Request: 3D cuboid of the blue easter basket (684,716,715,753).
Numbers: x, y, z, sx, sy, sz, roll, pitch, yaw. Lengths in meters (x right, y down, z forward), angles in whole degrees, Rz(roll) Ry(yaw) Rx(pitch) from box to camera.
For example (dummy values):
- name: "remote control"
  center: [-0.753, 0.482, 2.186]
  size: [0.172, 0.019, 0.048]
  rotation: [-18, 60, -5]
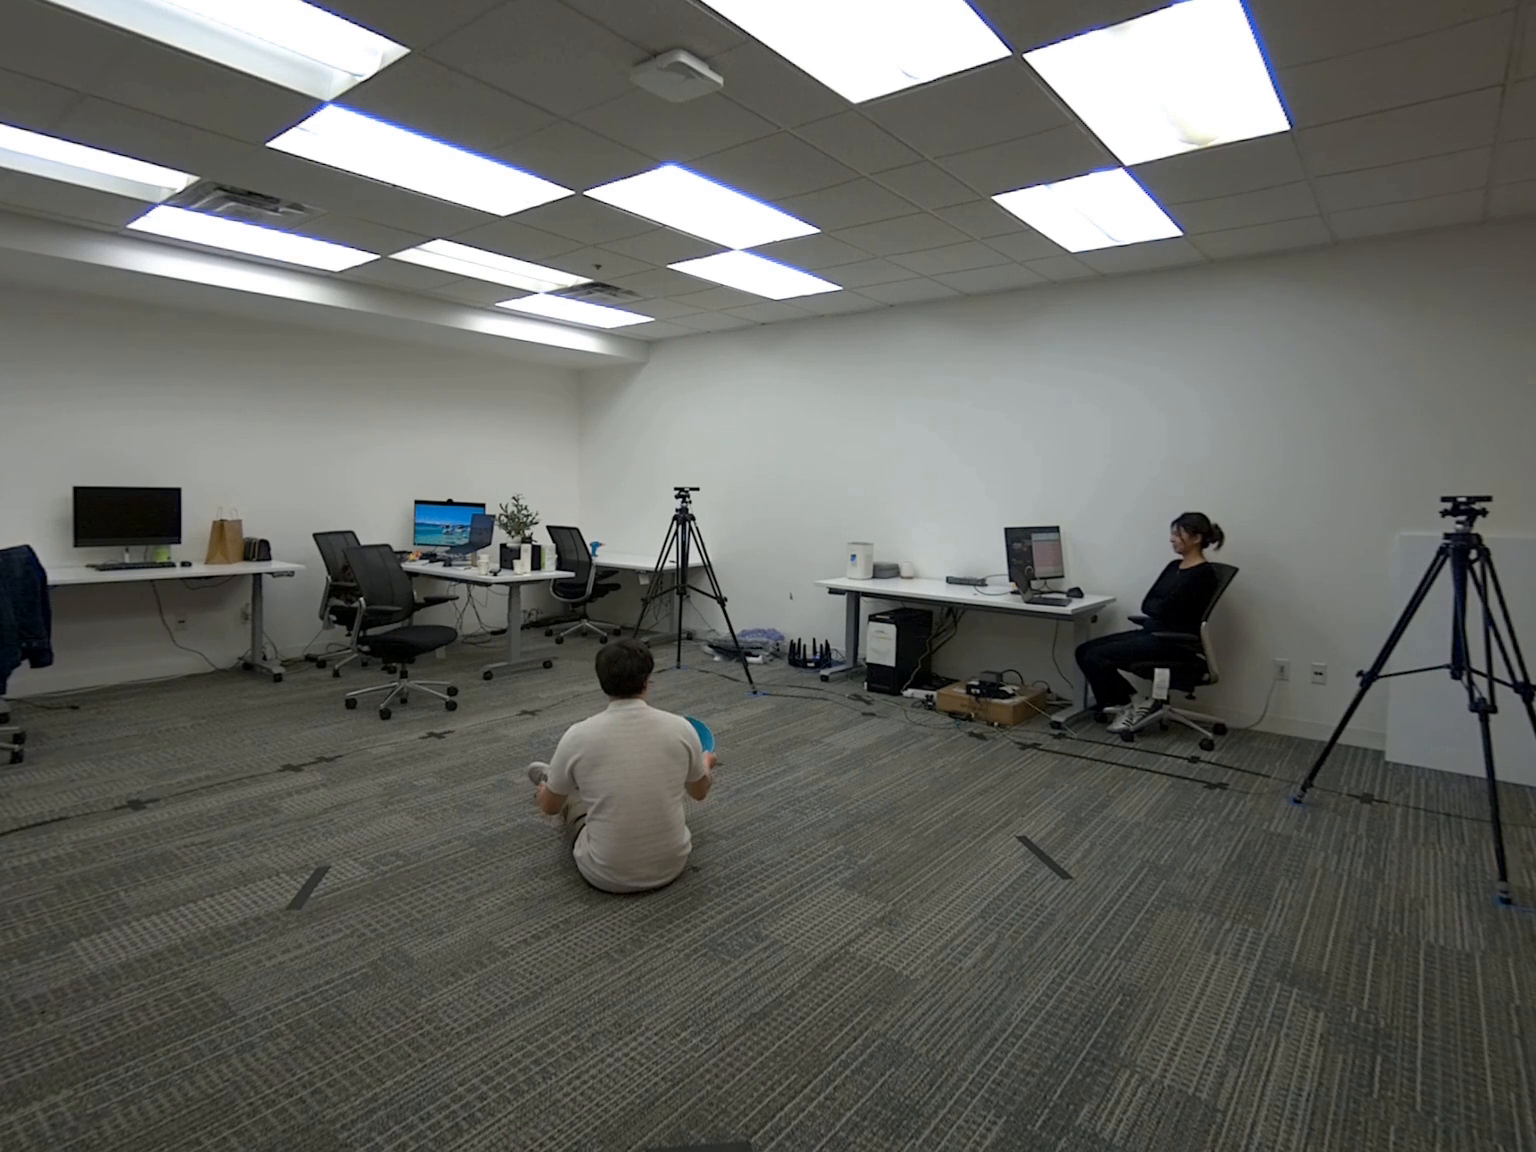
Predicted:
- name: "blue easter basket"
  center: [-0.355, 0.728, 3.537]
  size: [0.240, 0.153, 0.251]
  rotation: [11, 42, -12]
